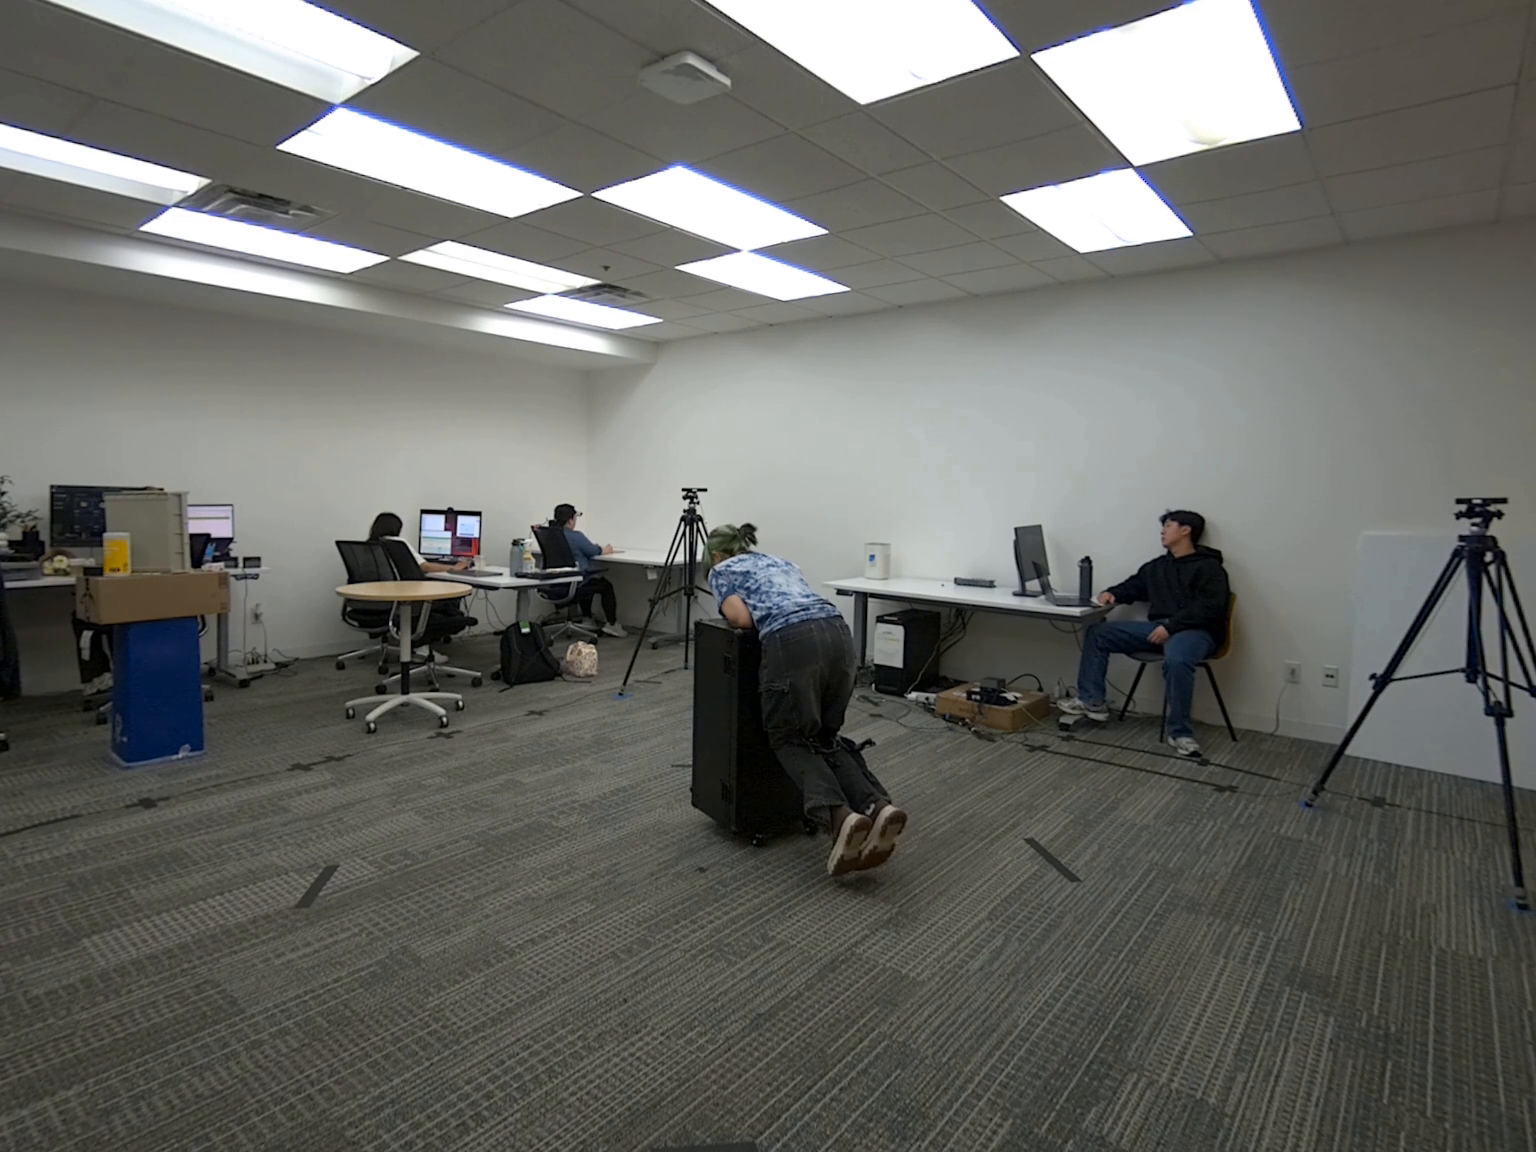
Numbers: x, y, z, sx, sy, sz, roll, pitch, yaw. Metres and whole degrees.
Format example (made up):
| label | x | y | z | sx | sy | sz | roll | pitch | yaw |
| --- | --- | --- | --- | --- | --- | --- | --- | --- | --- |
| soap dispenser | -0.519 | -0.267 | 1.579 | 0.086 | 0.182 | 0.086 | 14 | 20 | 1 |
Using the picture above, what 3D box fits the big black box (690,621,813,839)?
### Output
| label | x | y | z | sx | sy | sz | roll | pitch | yaw |
| --- | --- | --- | --- | --- | --- | --- | --- | --- | --- |
| big black box | -0.034 | 0.557 | 3.516 | 0.507 | 0.859 | 0.408 | -1 | 3 | -32 |
